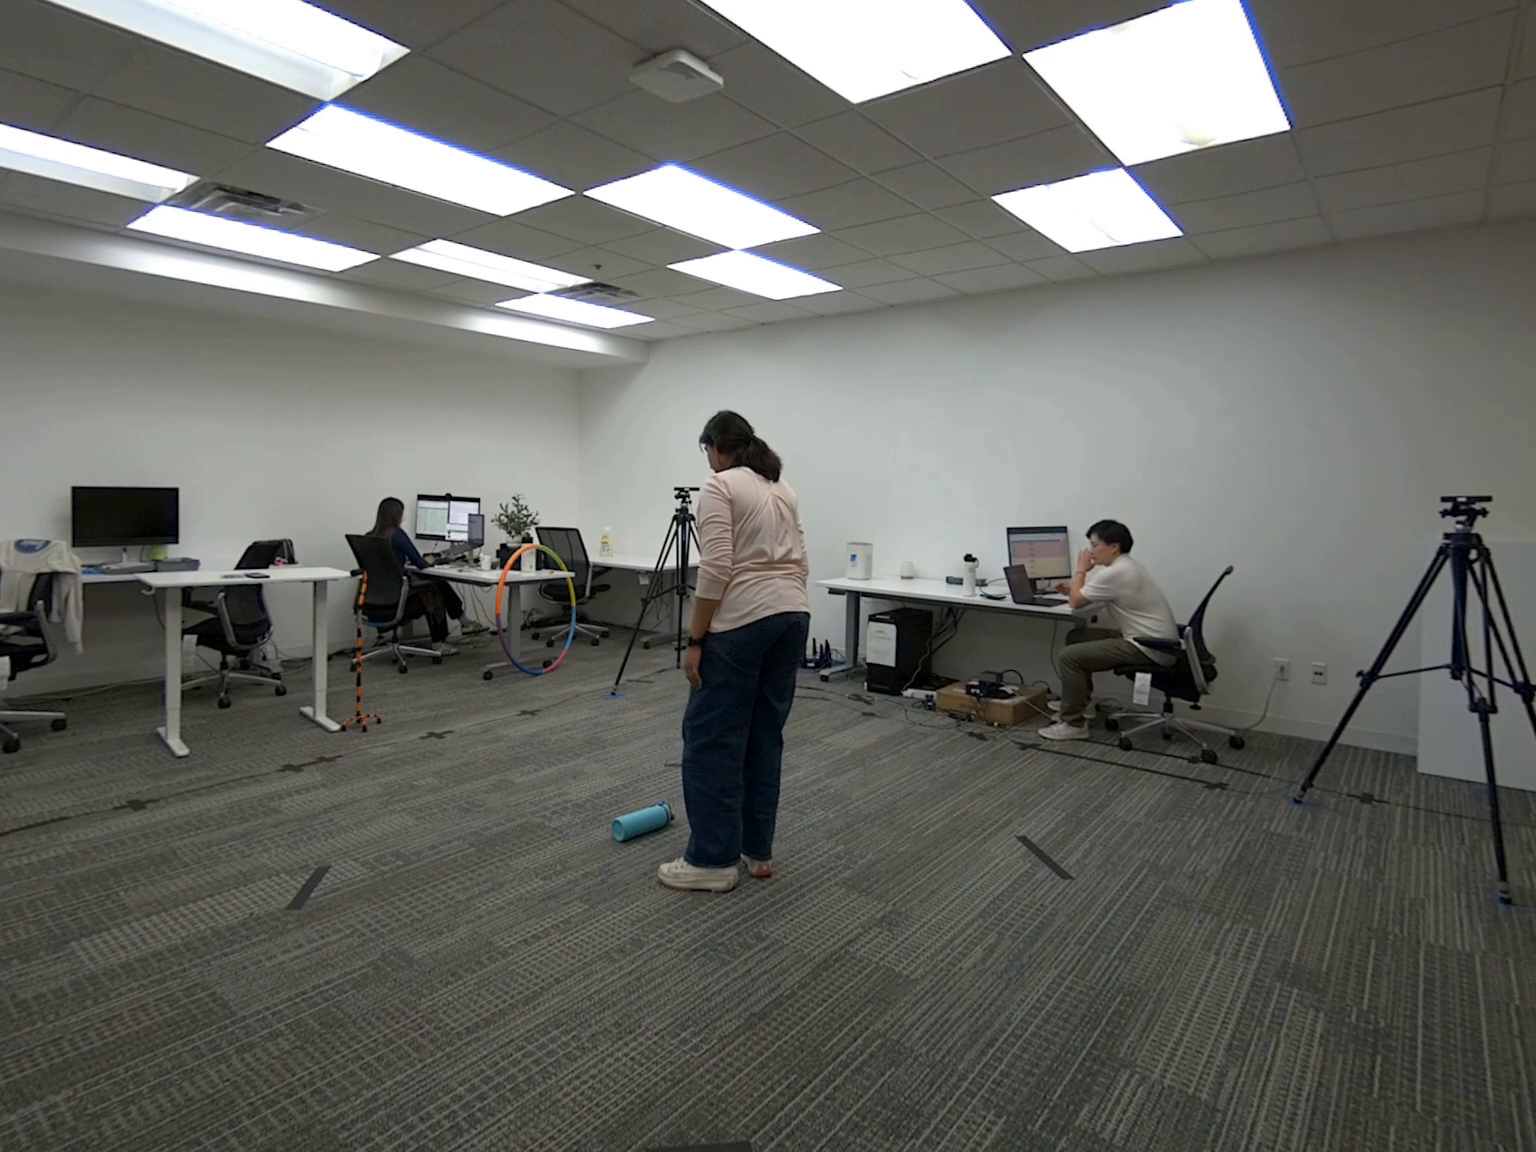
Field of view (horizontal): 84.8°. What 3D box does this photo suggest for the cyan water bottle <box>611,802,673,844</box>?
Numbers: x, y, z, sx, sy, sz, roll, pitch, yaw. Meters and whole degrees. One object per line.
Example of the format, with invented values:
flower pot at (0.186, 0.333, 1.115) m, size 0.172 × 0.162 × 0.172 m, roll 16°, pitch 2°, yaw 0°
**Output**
cyan water bottle at (-0.511, 0.983, 3.432) m, size 0.095 × 0.092 × 0.275 m, roll 5°, pitch 7°, yaw 43°
